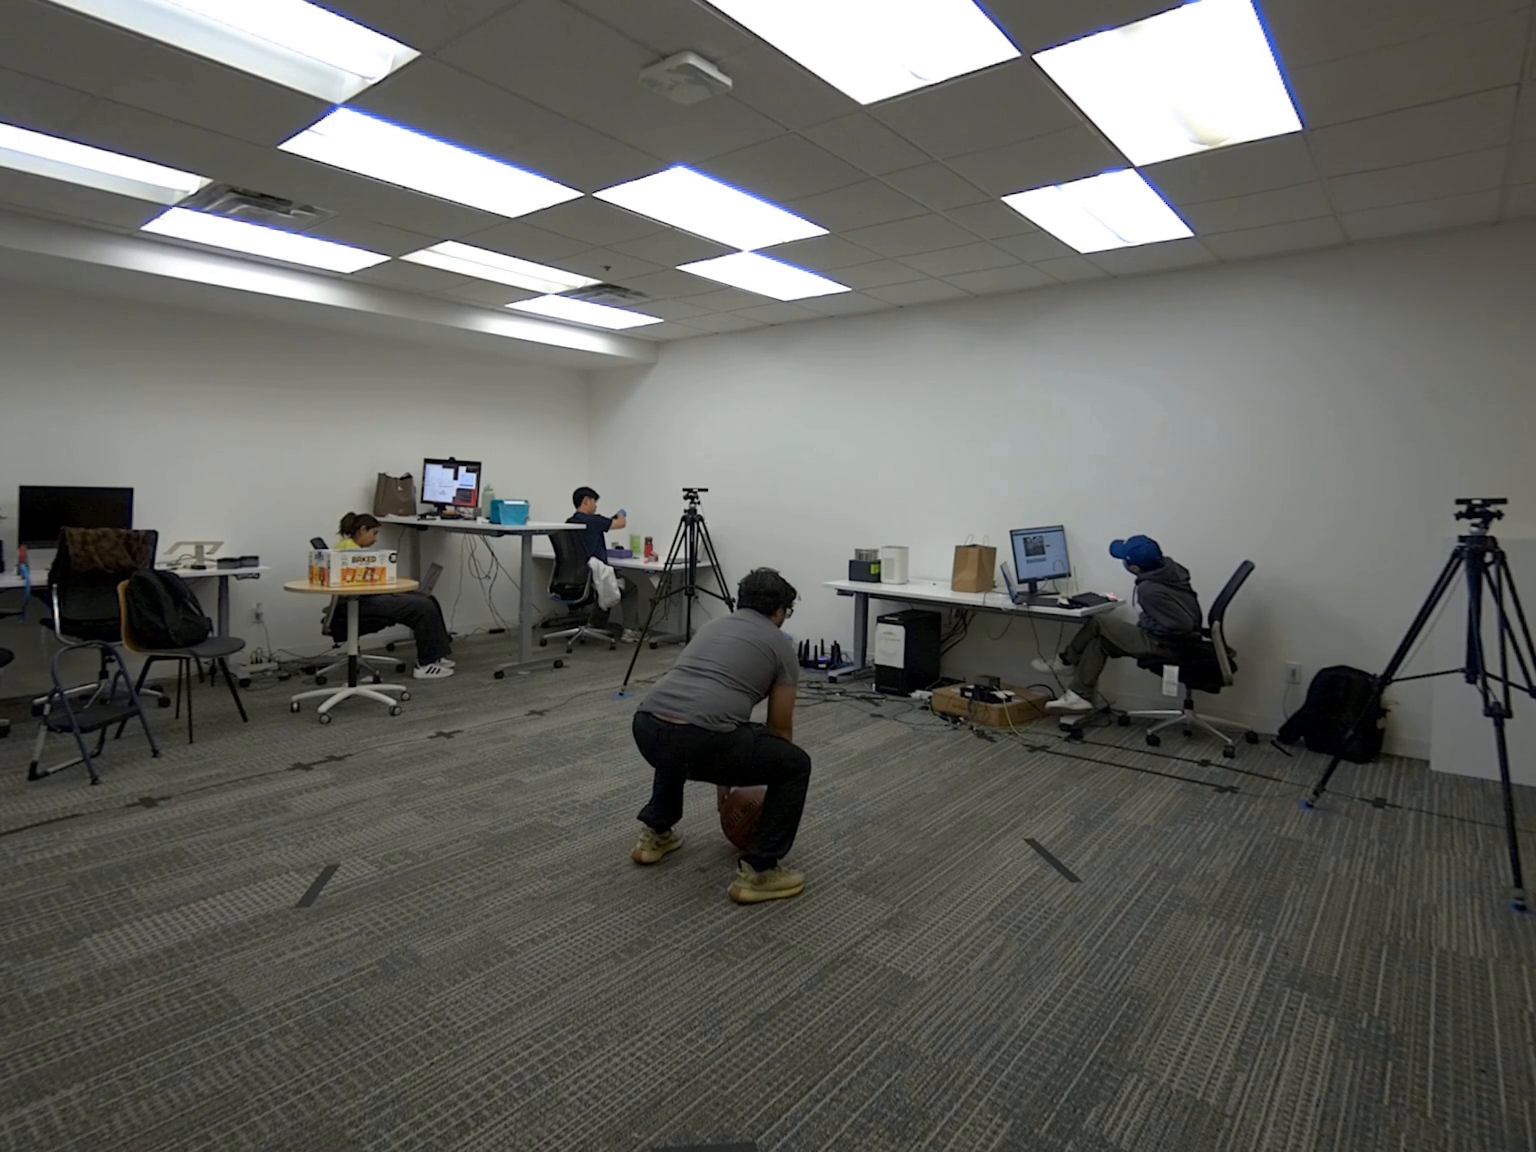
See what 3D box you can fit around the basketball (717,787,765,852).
[{"bbox_3d":[-0.068,0.931,3.297,0.235,0.235,0.237,1,4,-2],"label":"basketball"}]
